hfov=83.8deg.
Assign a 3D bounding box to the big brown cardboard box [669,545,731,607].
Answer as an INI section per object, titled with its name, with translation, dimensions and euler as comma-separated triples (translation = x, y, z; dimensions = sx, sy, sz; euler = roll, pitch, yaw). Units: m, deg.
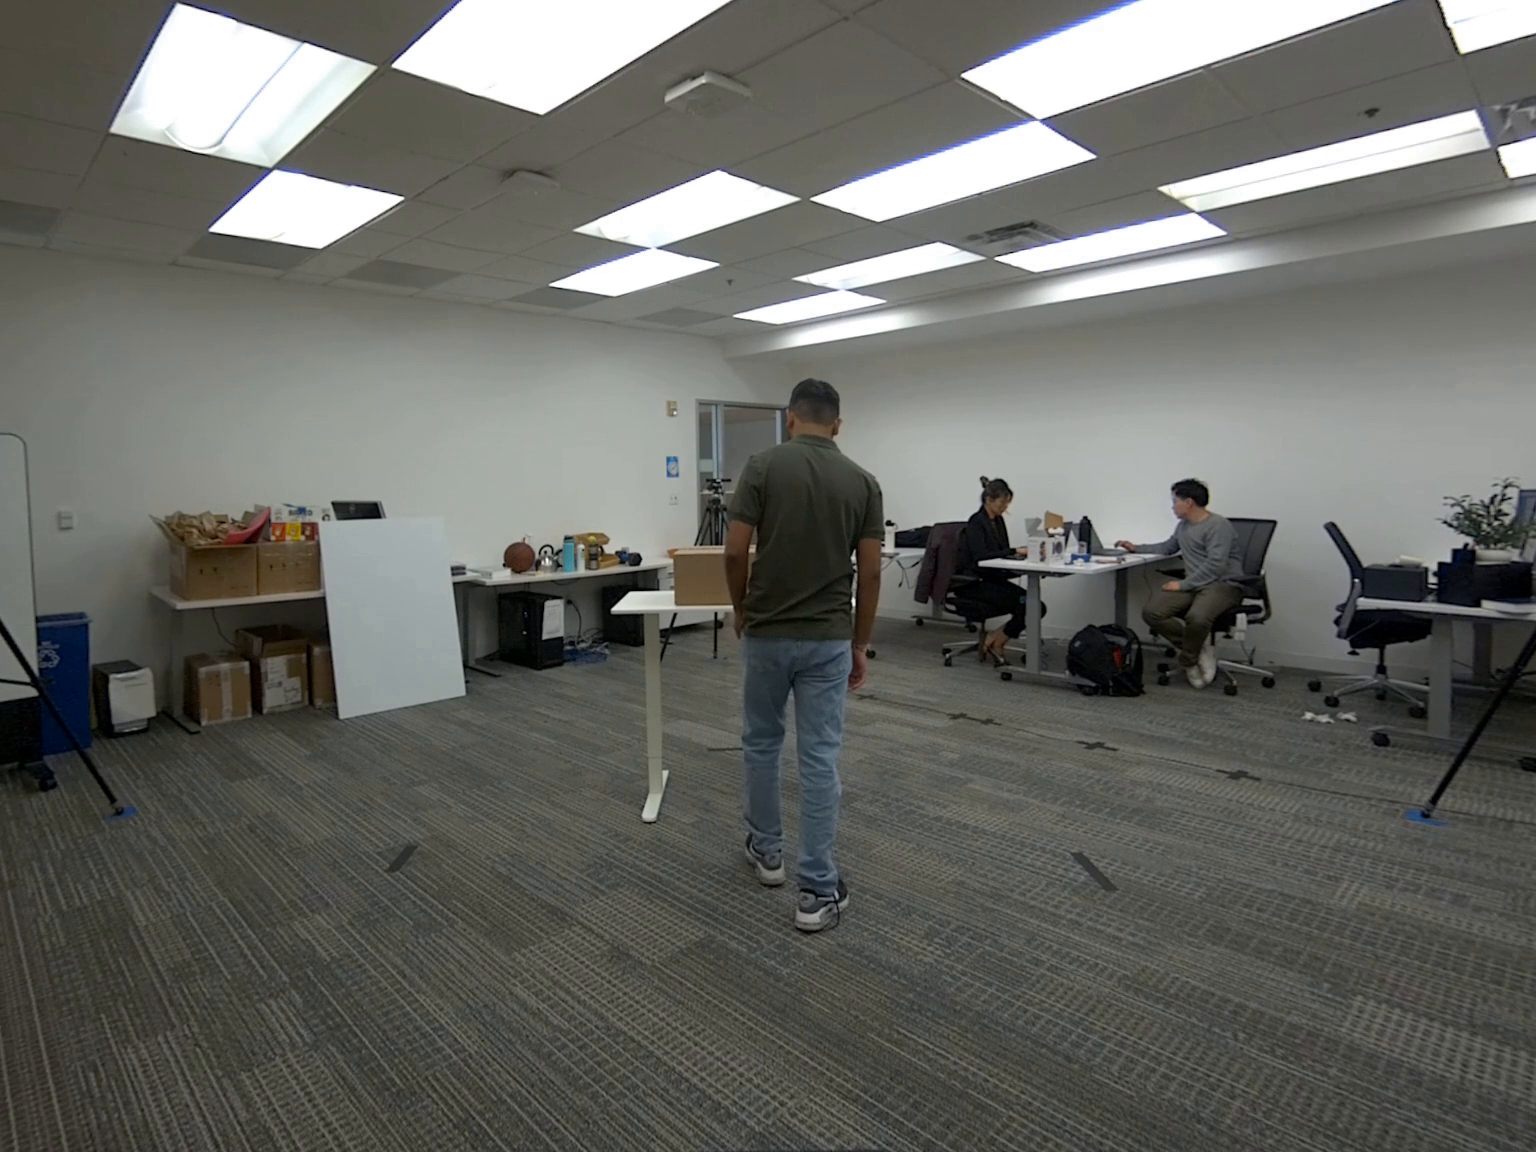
[big brown cardboard box]
translation = -0.095, -0.009, 3.690
dimensions = 0.592, 0.232, 0.417
euler = 0, 5, 4
